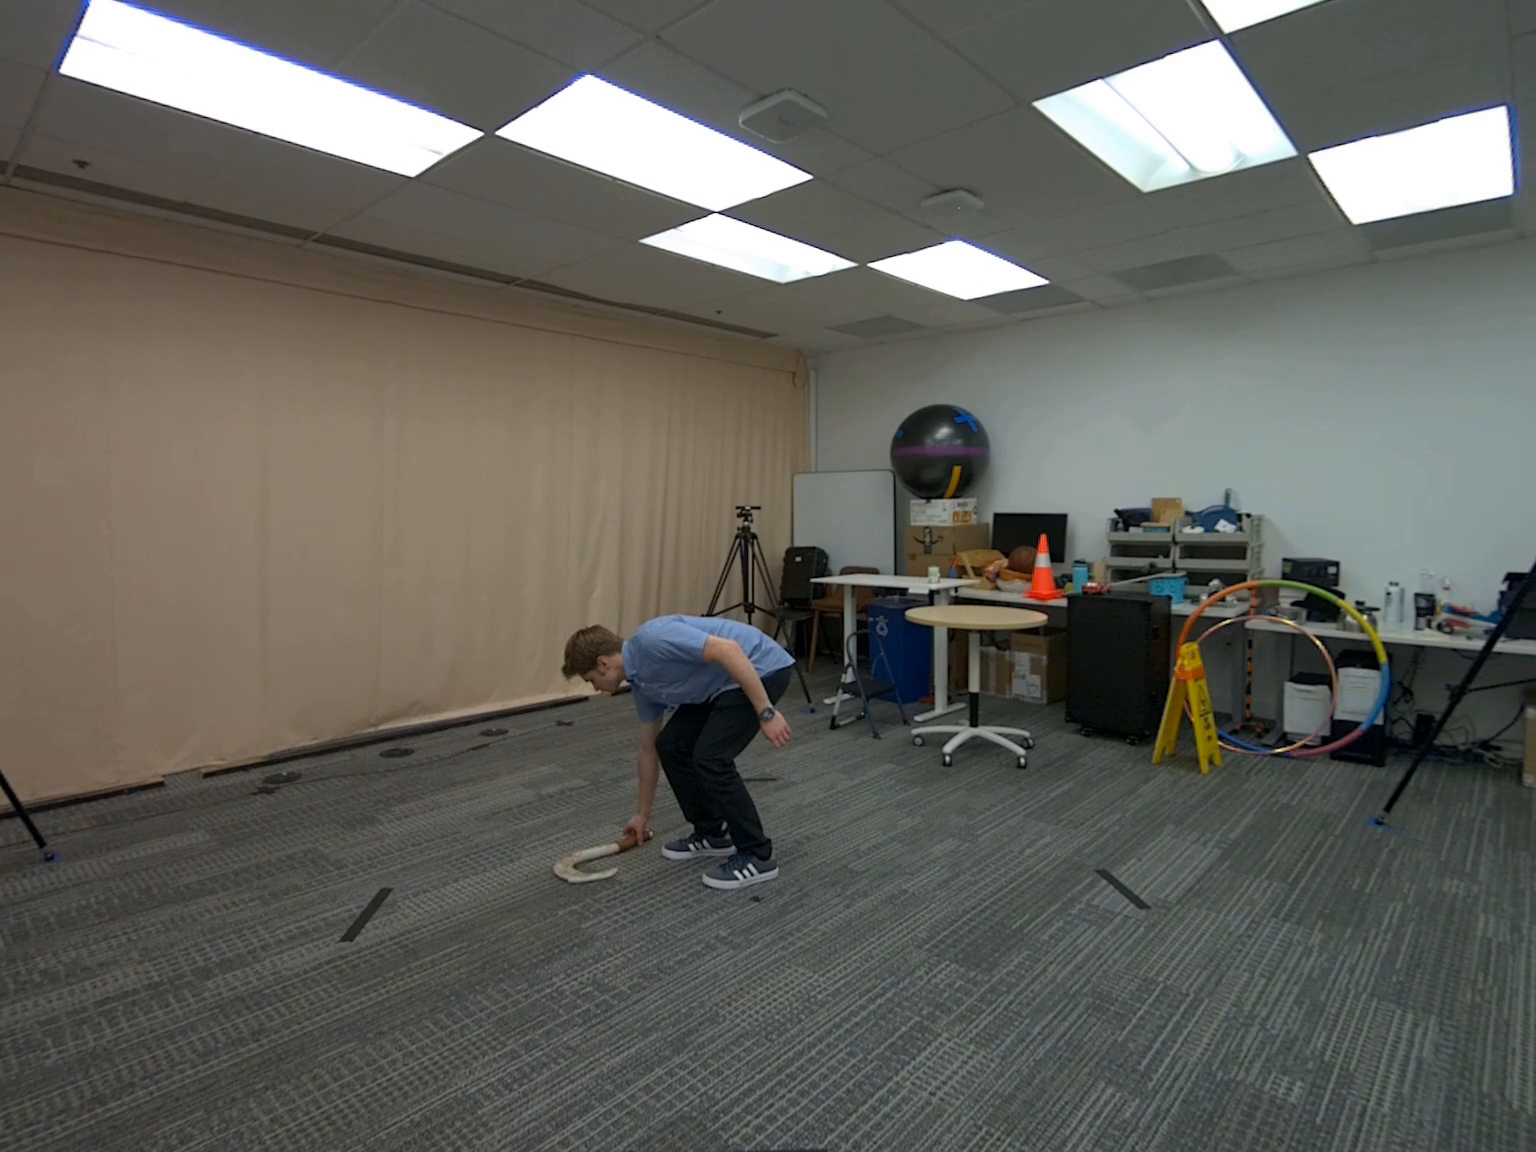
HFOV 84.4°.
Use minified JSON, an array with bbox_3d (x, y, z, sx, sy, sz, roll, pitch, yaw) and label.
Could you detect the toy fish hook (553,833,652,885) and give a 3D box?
[{"bbox_3d":[-0.608,1.108,3.322,0.232,0.048,0.492,12,12,39],"label":"toy fish hook"}]
